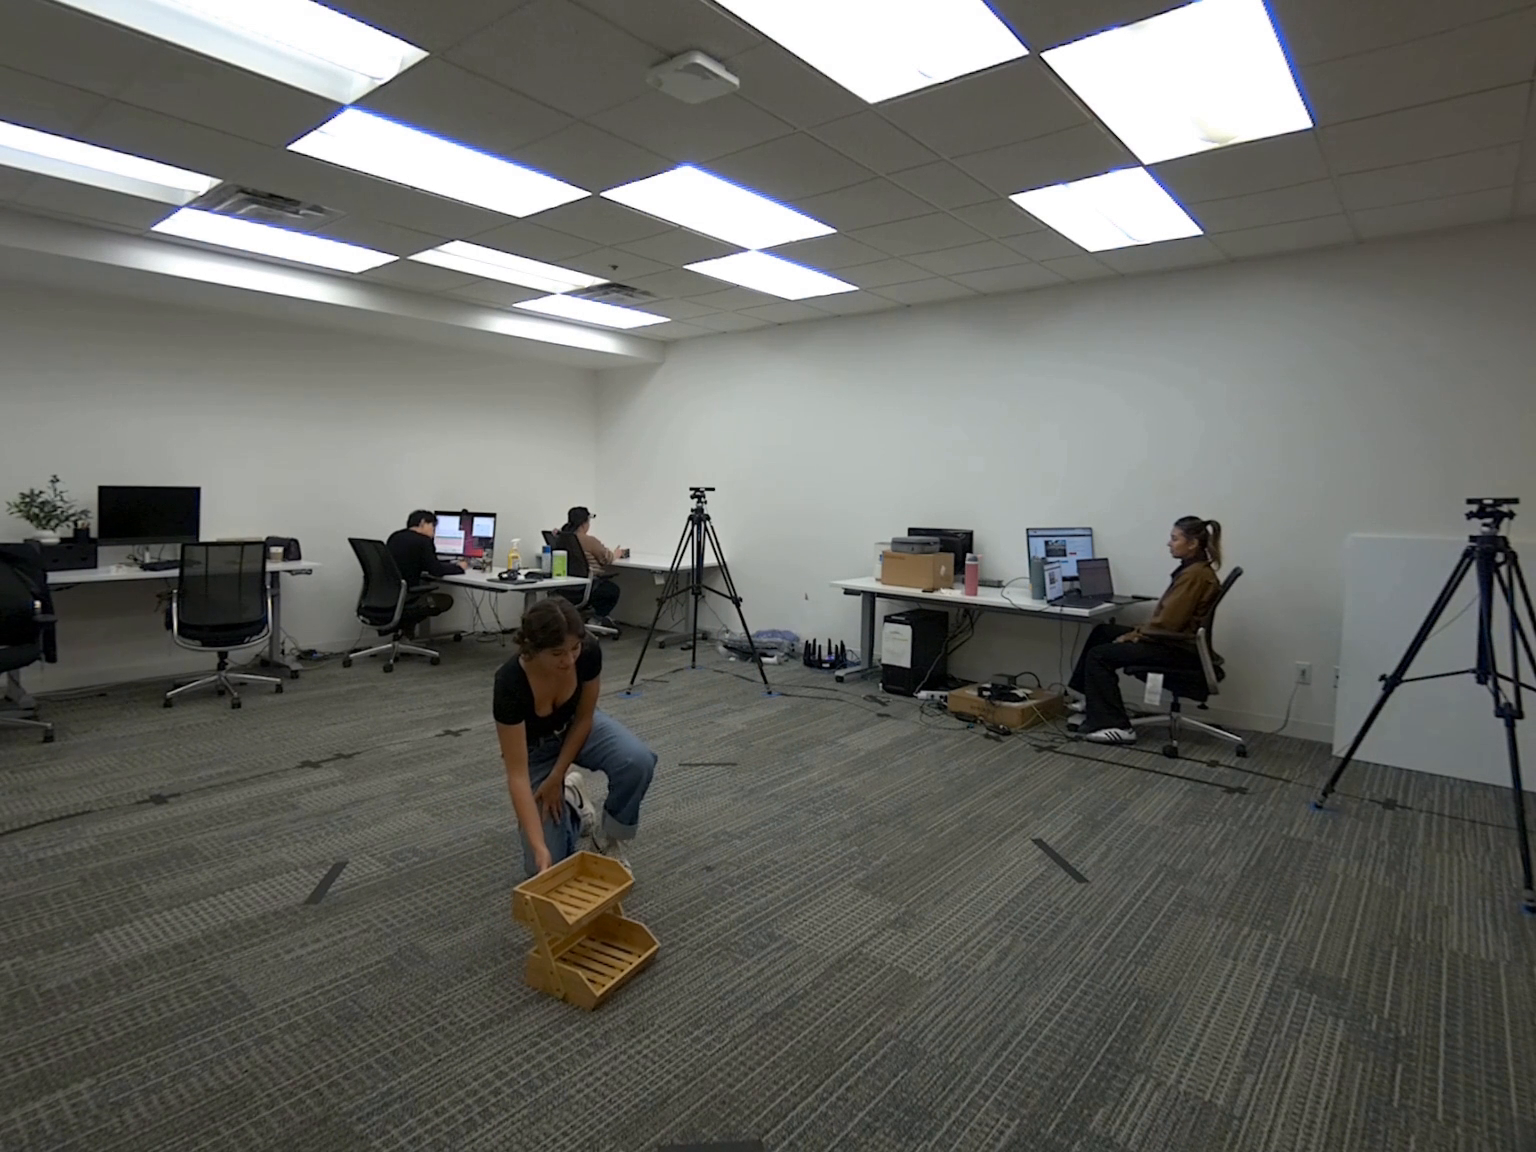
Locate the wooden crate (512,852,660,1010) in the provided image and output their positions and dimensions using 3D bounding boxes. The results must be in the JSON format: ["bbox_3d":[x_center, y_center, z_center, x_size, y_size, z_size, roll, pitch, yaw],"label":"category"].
[{"bbox_3d":[-0.522,0.994,2.434,0.310,0.272,0.317,2,5,28],"label":"wooden crate"}]
